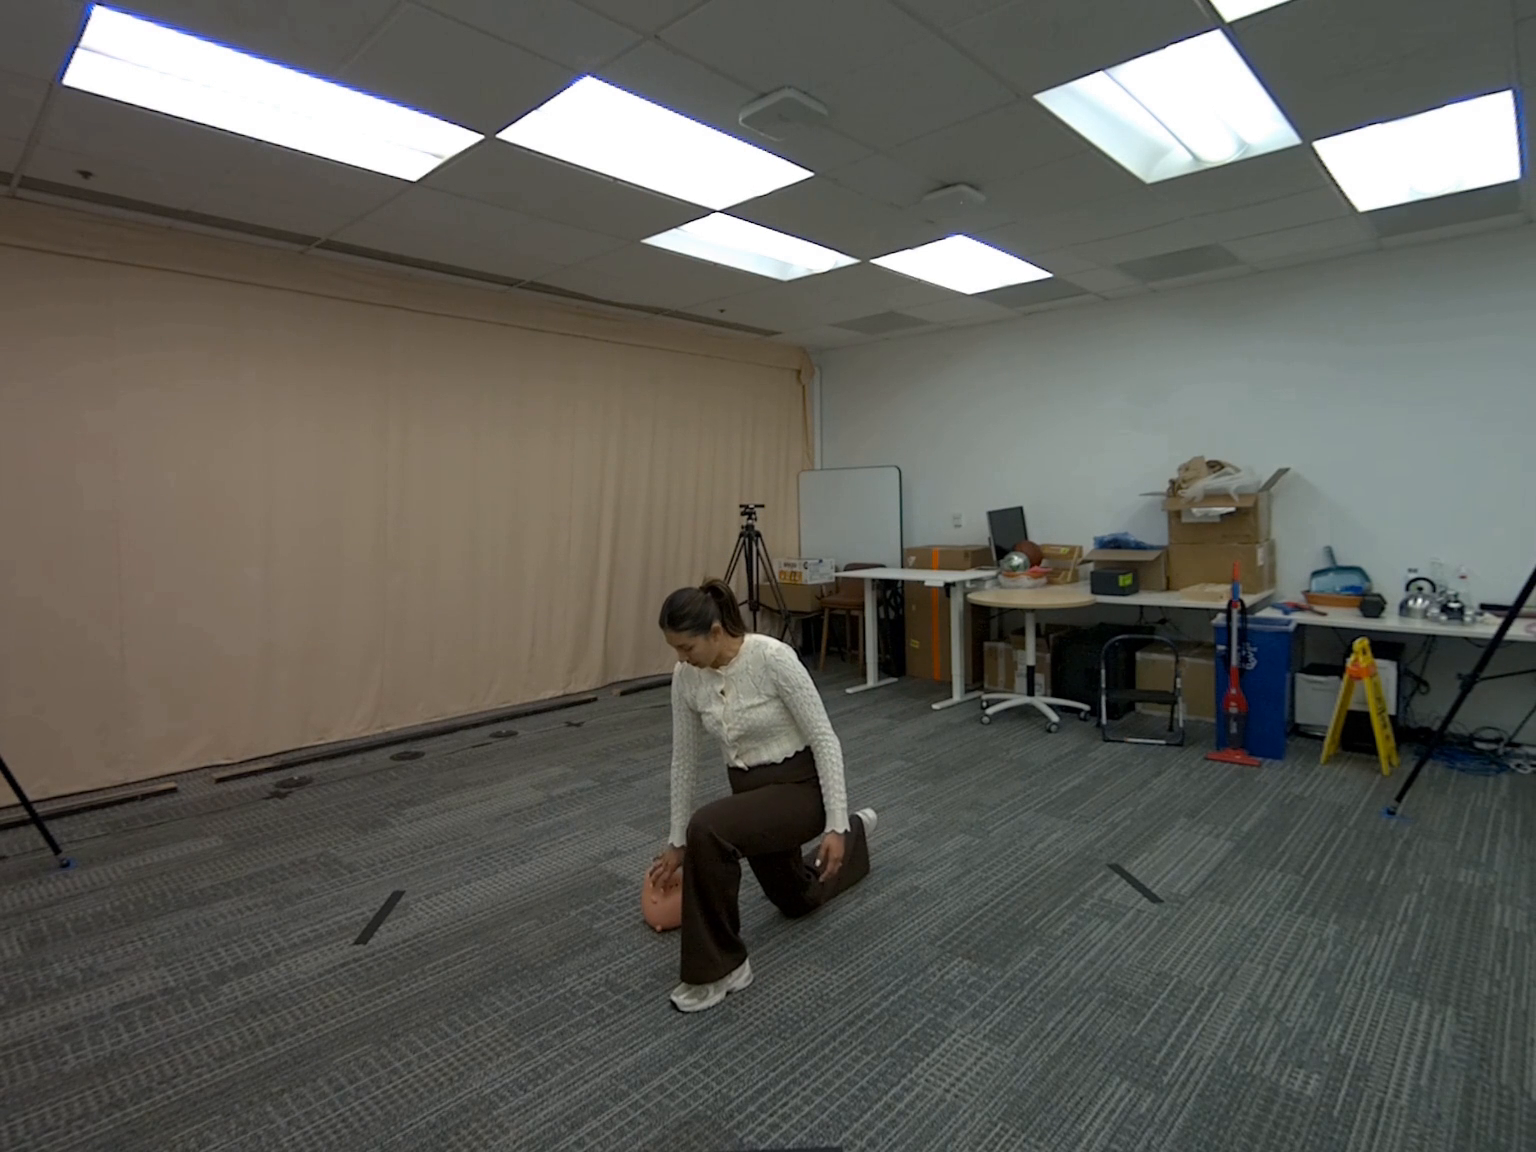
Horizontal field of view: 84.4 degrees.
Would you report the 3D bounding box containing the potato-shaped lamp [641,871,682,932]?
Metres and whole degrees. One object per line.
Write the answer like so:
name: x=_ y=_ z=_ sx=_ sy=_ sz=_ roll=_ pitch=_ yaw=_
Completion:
potato-shaped lamp: x=-0.343 y=1.060 z=2.817 sx=0.163 sy=0.198 sz=0.173 roll=-7 pitch=1 yaw=-9
